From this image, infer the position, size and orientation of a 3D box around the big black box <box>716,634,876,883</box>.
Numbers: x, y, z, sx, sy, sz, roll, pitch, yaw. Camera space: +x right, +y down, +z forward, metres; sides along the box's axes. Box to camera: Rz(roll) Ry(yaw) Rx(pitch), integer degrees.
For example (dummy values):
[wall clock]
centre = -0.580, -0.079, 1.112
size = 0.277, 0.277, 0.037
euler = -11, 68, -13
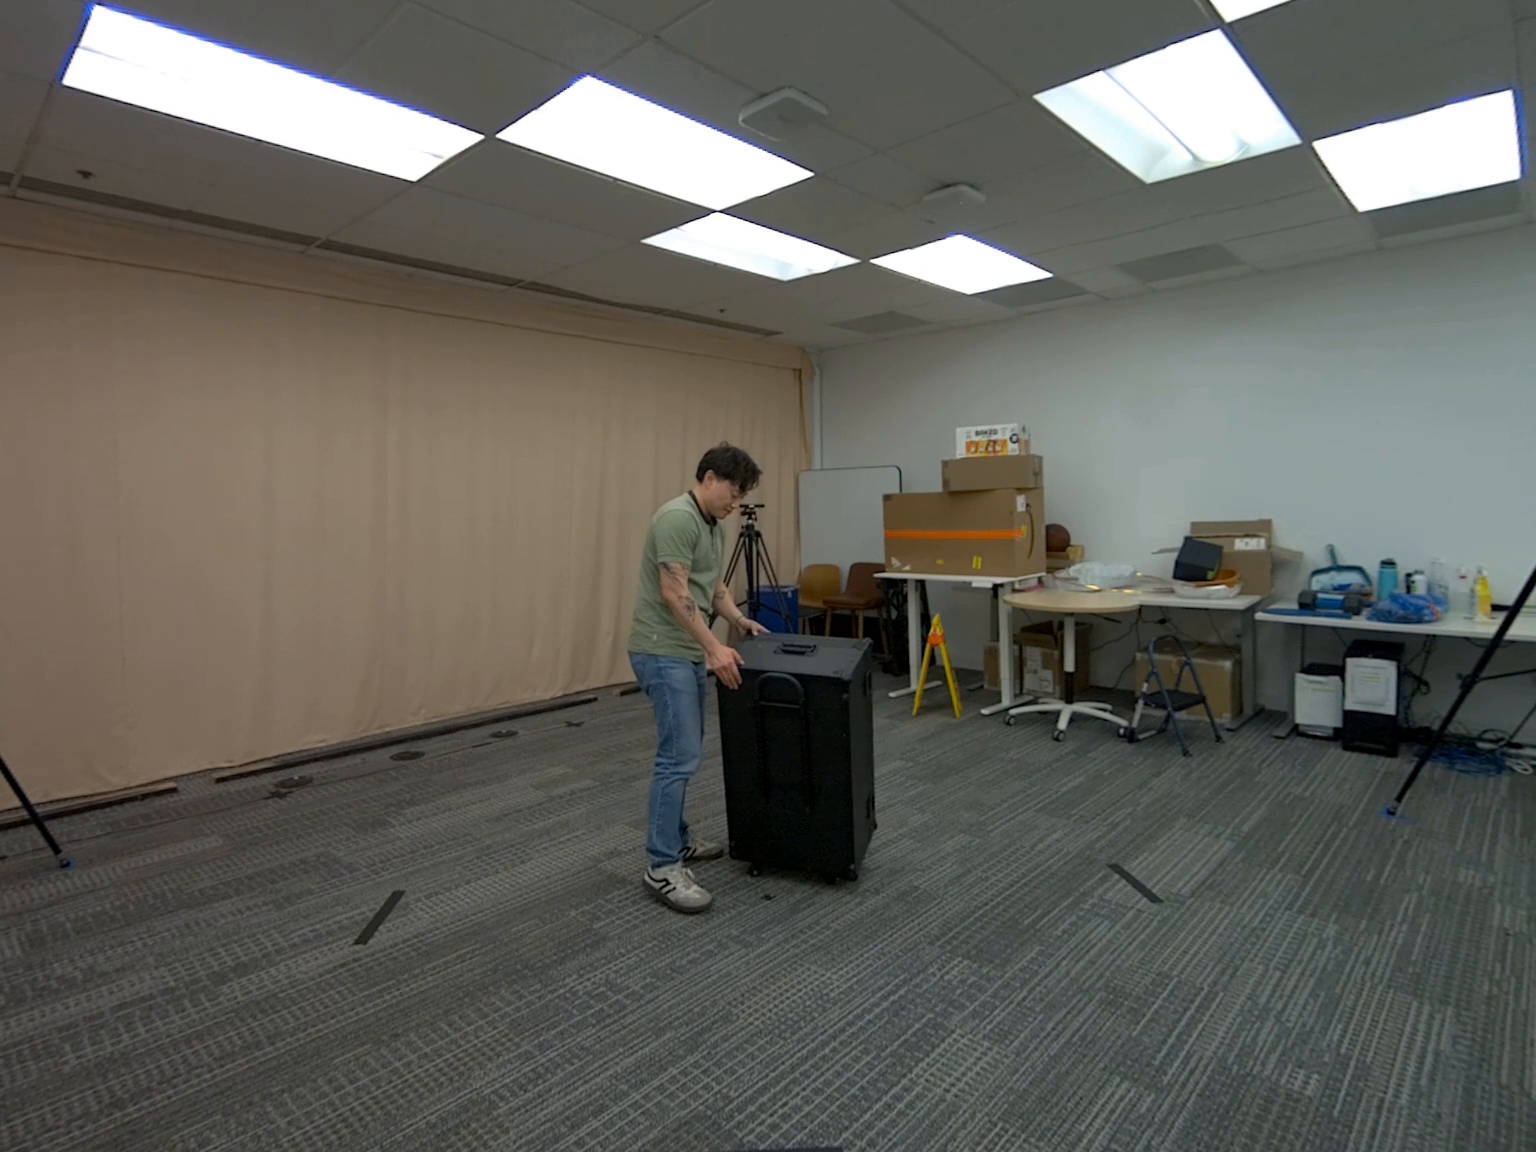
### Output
[big black box]
centre = 0.123, 0.685, 3.116
size = 0.533, 0.852, 0.392
euler = 3, 17, 21
